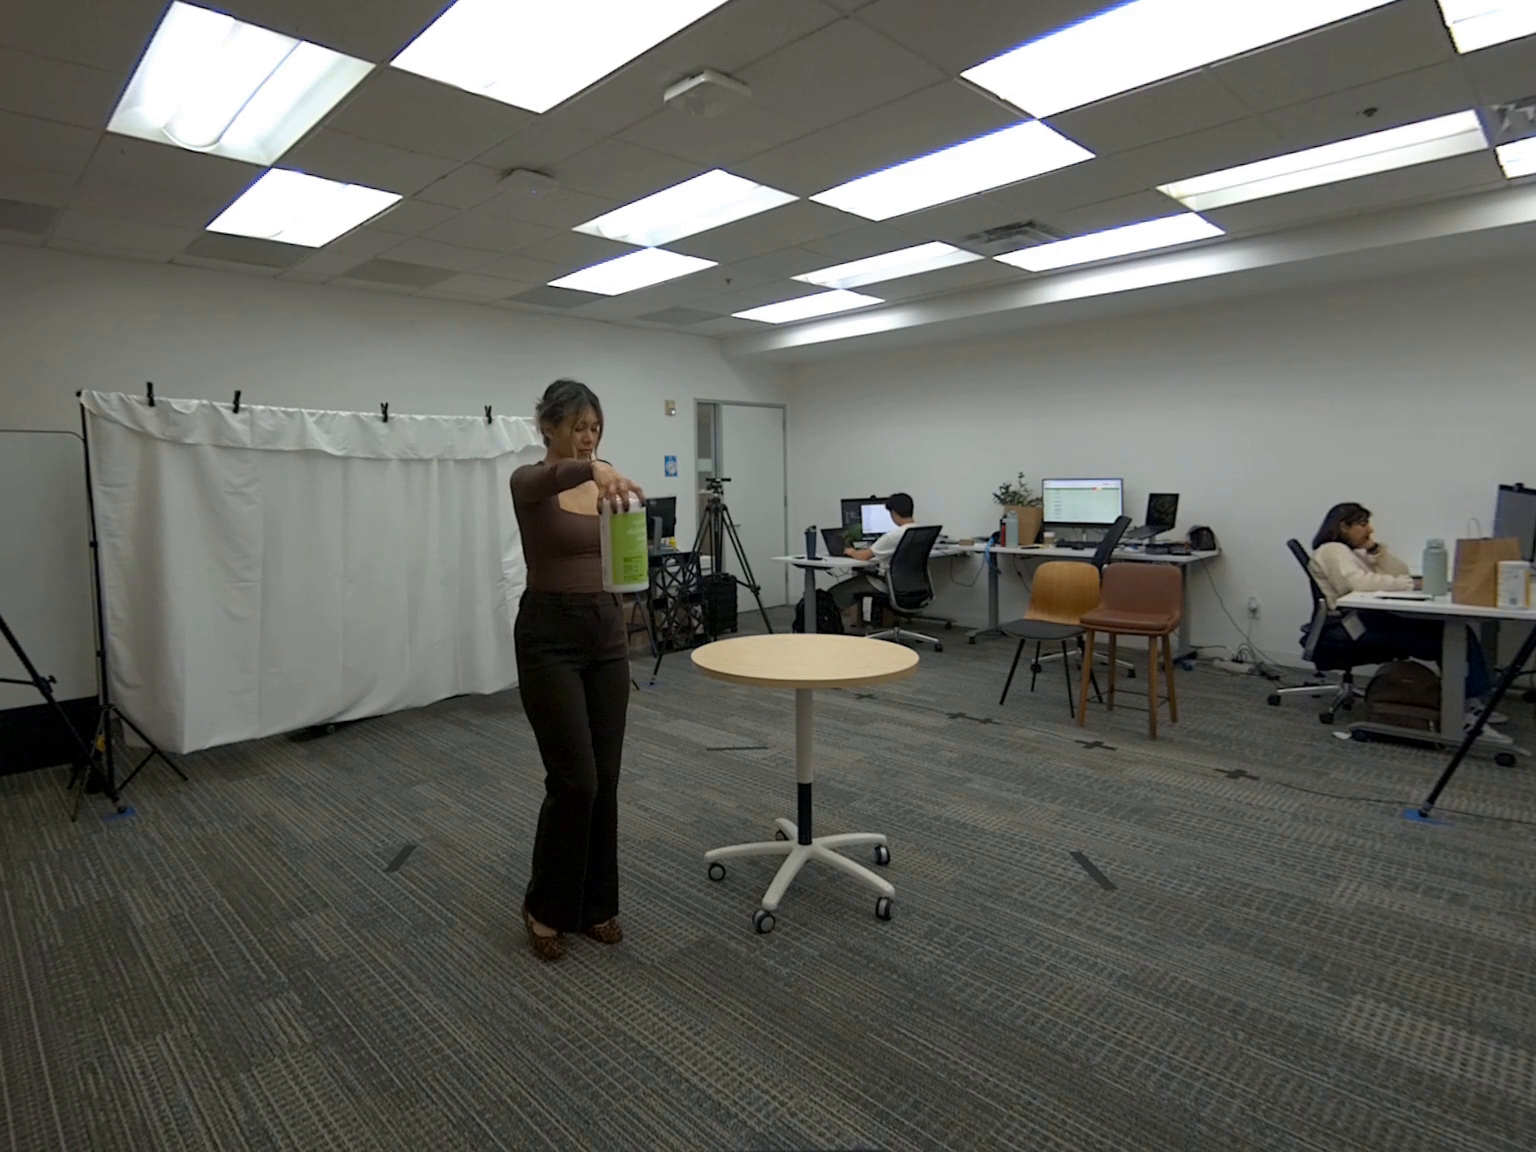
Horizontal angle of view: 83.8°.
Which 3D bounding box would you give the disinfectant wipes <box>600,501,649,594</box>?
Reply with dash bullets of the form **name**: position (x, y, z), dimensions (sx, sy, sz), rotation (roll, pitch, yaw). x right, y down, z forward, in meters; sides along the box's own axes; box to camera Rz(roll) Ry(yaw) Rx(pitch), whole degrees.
- **disinfectant wipes**: position (-0.337, -0.074, 2.024), dimensions (0.118, 0.216, 0.118), rotation (-4, 5, -1)
